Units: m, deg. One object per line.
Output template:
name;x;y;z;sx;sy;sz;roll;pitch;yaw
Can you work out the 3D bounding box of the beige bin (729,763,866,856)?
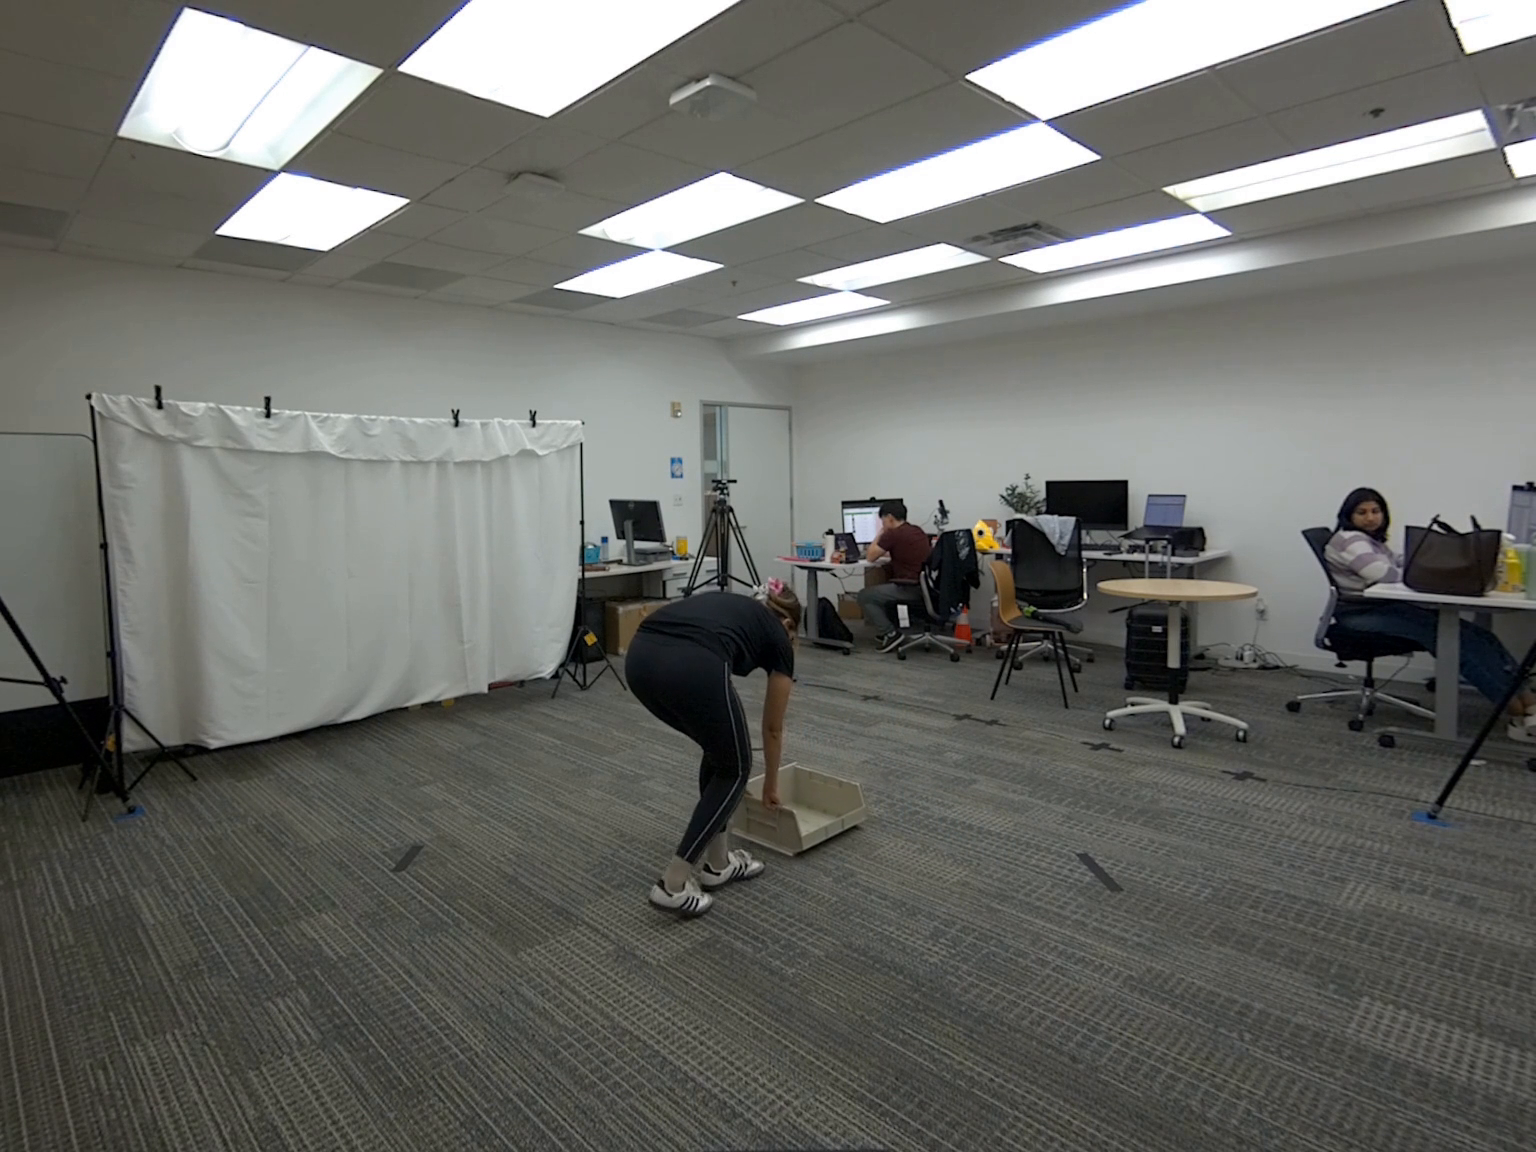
beige bin;0.120;0.923;3.396;0.389;0.188;0.412;4;9;43
